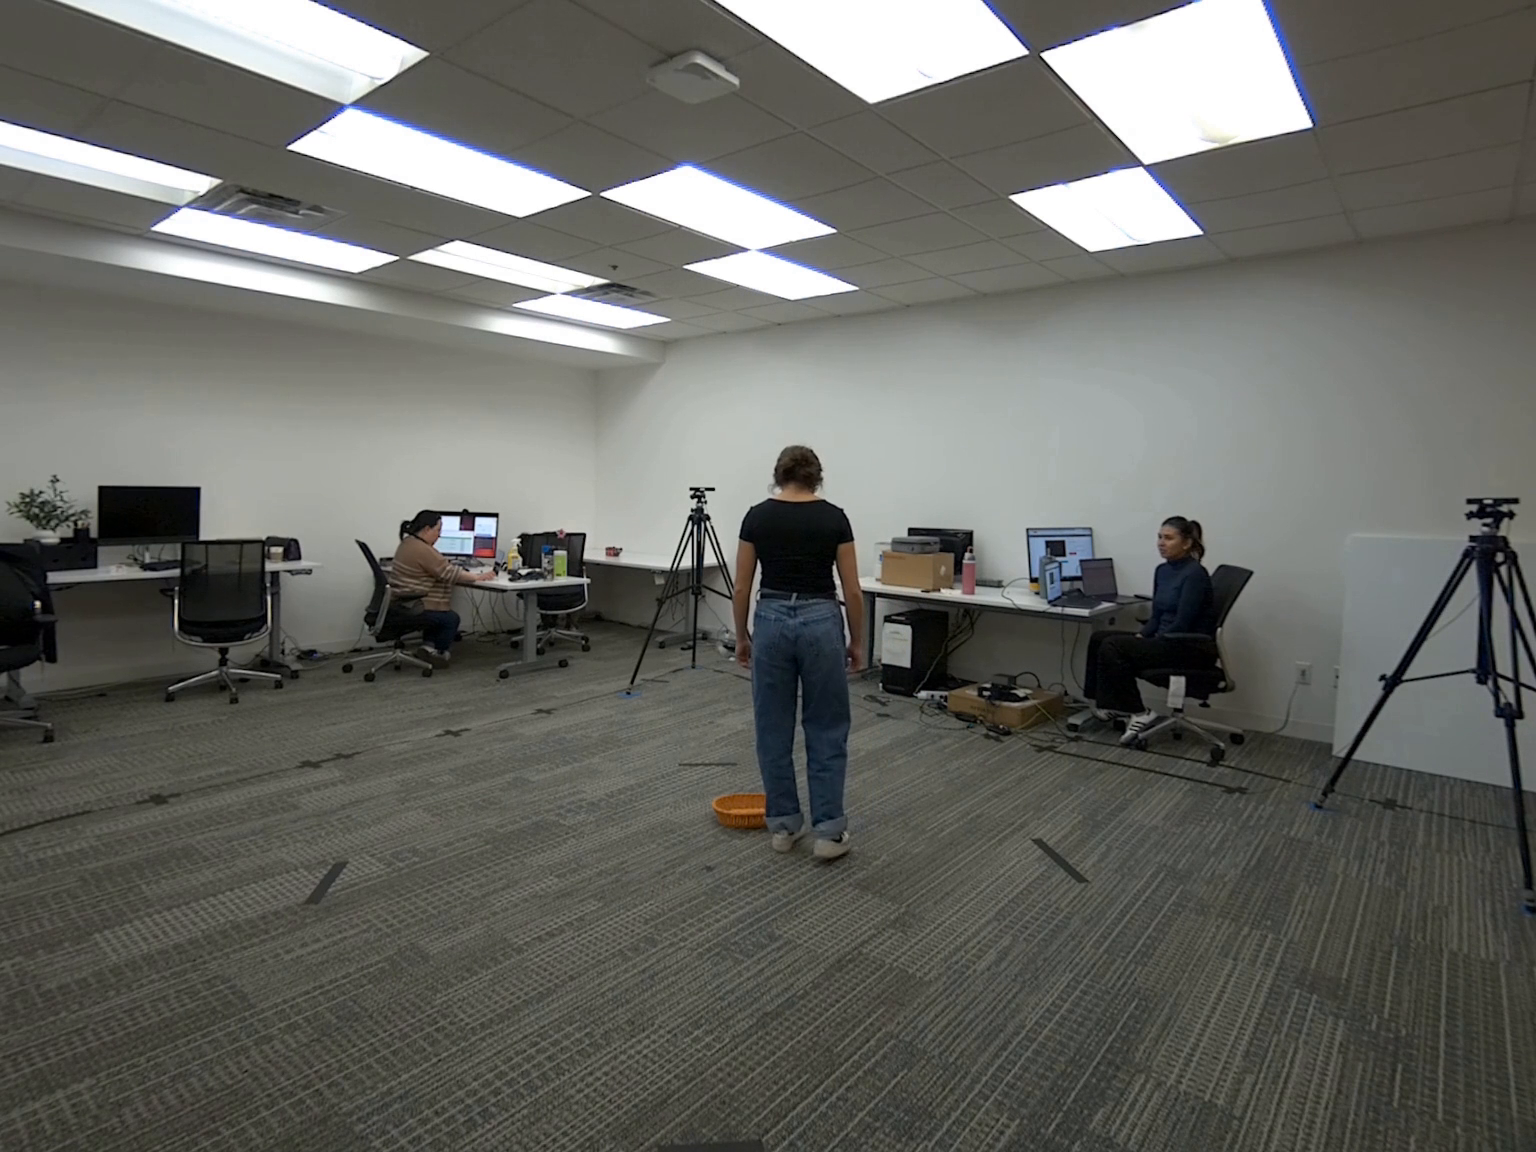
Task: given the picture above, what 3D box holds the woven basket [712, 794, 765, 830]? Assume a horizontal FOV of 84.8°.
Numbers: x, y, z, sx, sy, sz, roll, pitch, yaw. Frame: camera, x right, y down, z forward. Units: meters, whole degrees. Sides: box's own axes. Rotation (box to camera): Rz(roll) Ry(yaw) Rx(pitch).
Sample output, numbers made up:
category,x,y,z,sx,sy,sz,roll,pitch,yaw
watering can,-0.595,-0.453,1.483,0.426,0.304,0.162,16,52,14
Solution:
category,x,y,z,sx,sy,sz,roll,pitch,yaw
woven basket,-0.078,0.983,3.582,0.347,0.073,0.255,-1,5,-9
